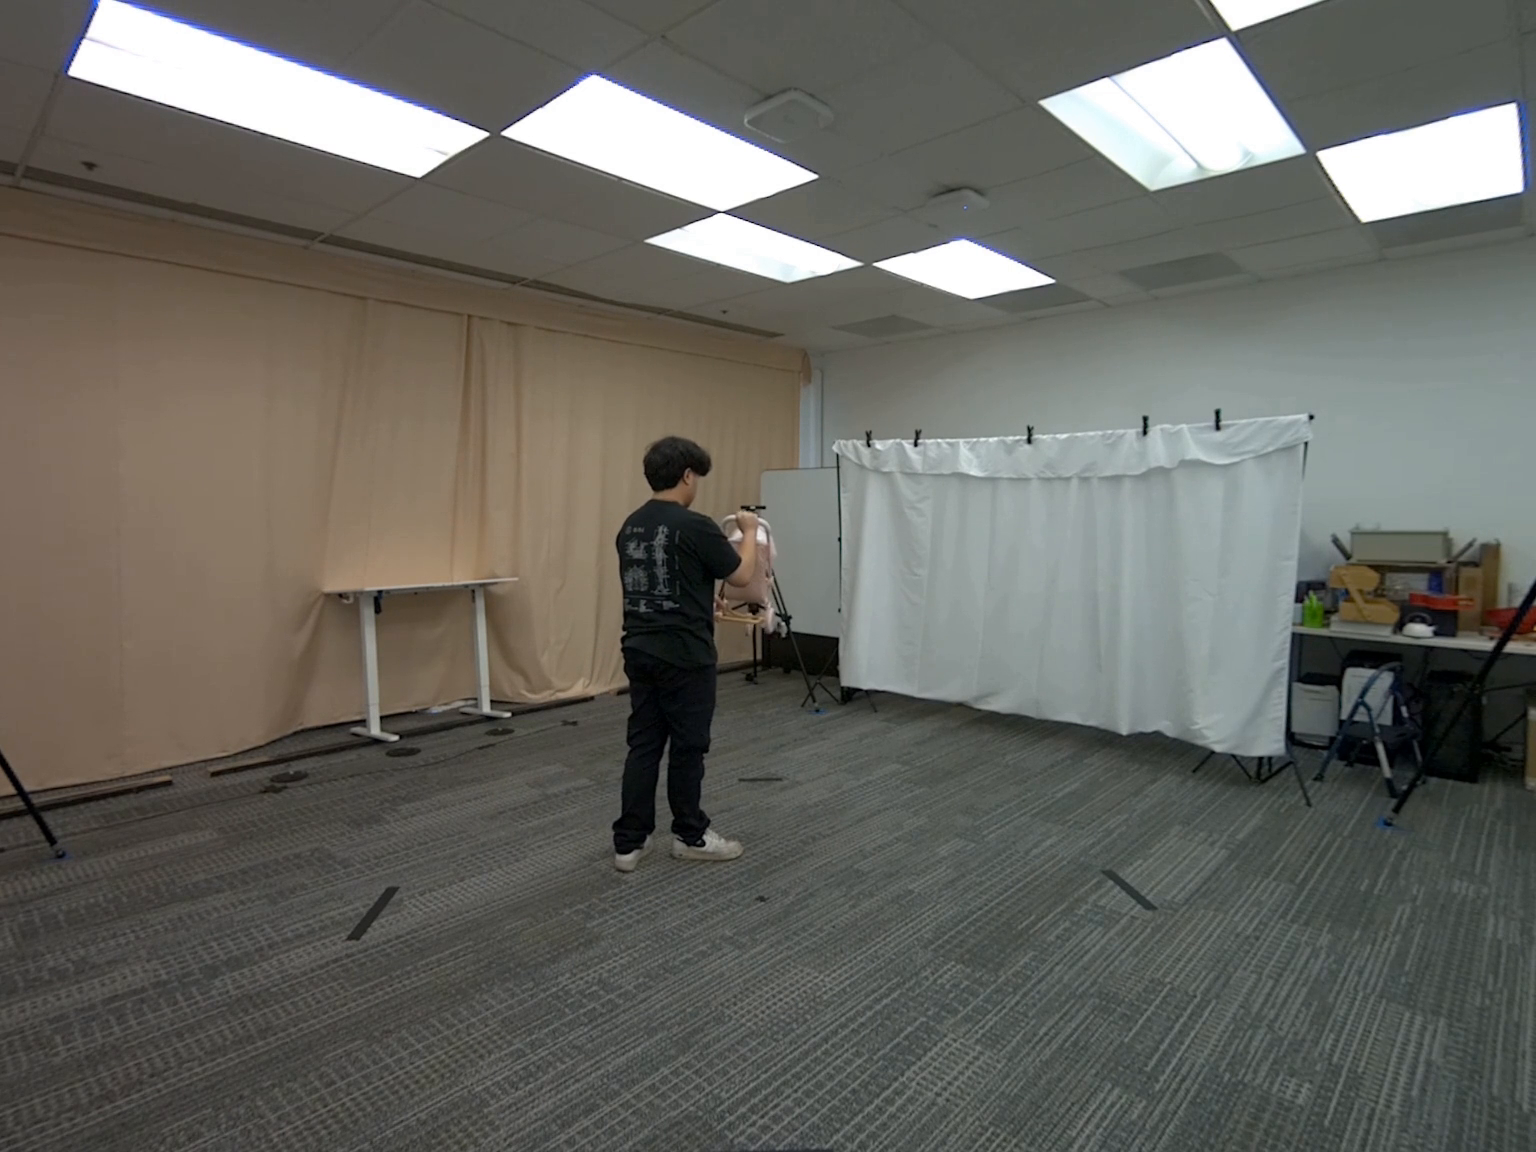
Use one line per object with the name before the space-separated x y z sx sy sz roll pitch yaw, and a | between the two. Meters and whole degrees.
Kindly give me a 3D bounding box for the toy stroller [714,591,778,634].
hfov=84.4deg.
toy stroller | -0.085 0.012 3.652 0.285 0.534 0.337 4 1 11
